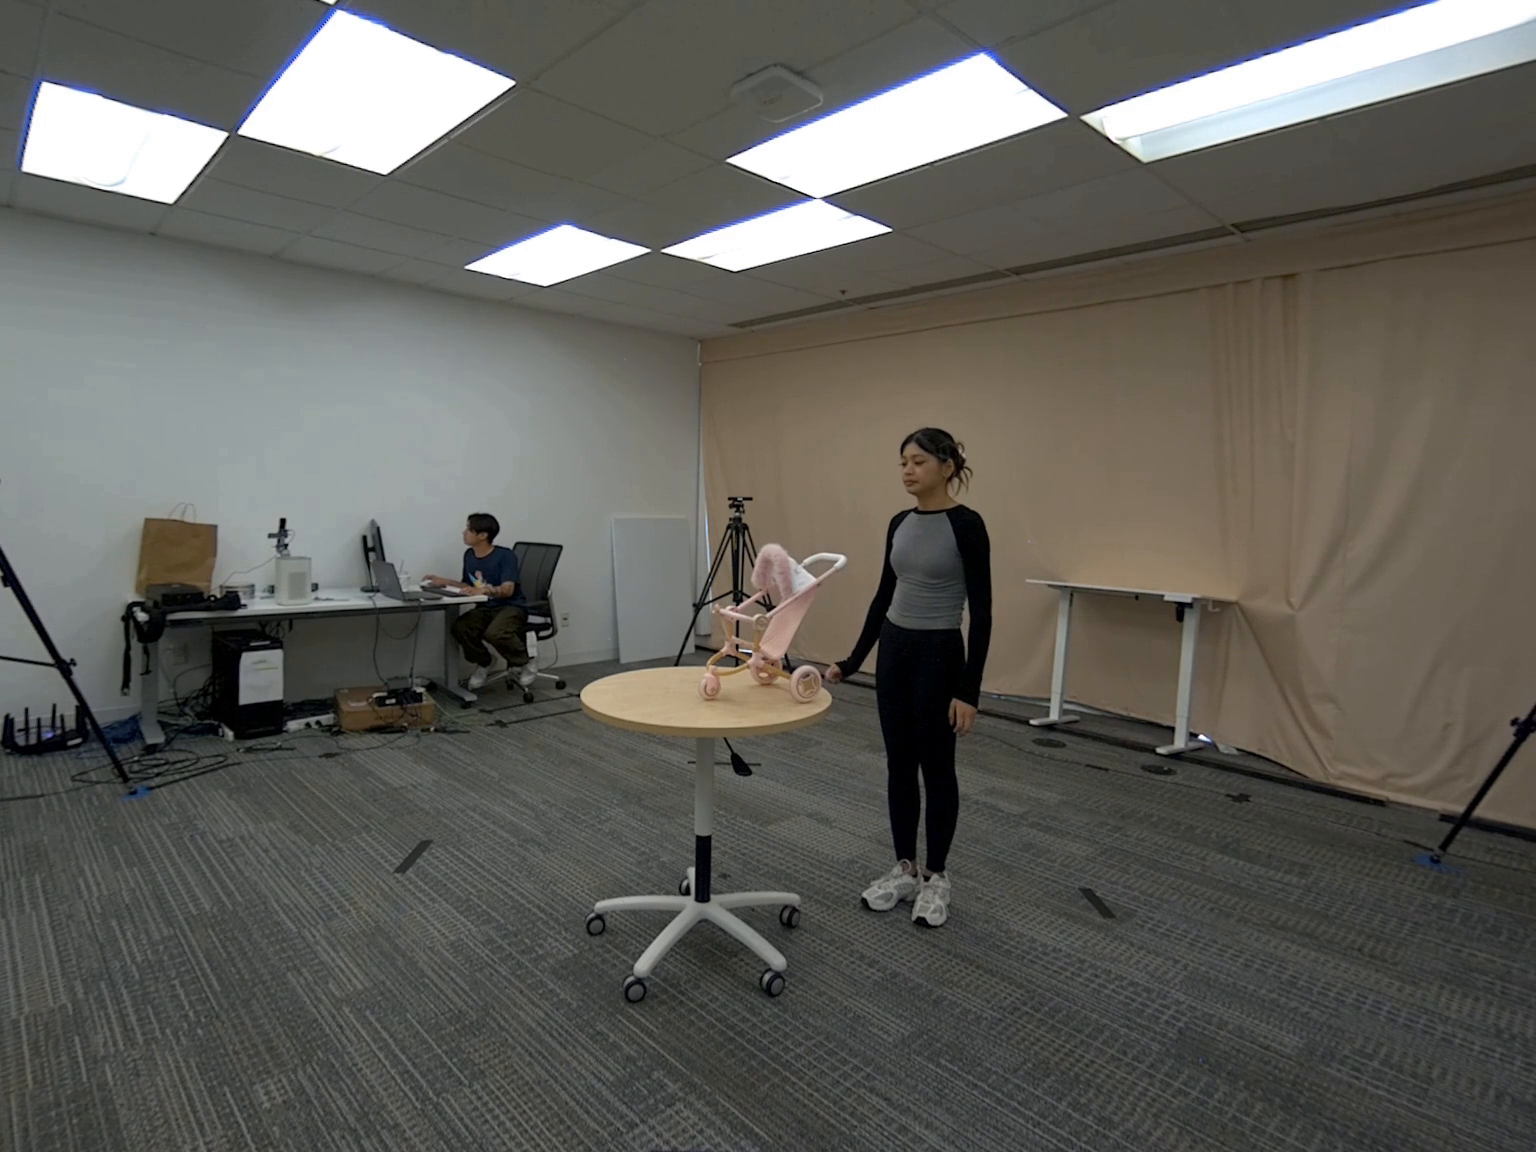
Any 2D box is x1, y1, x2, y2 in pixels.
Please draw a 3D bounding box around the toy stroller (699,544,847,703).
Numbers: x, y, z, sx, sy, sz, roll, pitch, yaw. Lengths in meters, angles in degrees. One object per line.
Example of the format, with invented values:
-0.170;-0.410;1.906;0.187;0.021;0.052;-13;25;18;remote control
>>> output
0.000;0.142;2.565;0.334;0.536;0.287;17;-3;-23;toy stroller
